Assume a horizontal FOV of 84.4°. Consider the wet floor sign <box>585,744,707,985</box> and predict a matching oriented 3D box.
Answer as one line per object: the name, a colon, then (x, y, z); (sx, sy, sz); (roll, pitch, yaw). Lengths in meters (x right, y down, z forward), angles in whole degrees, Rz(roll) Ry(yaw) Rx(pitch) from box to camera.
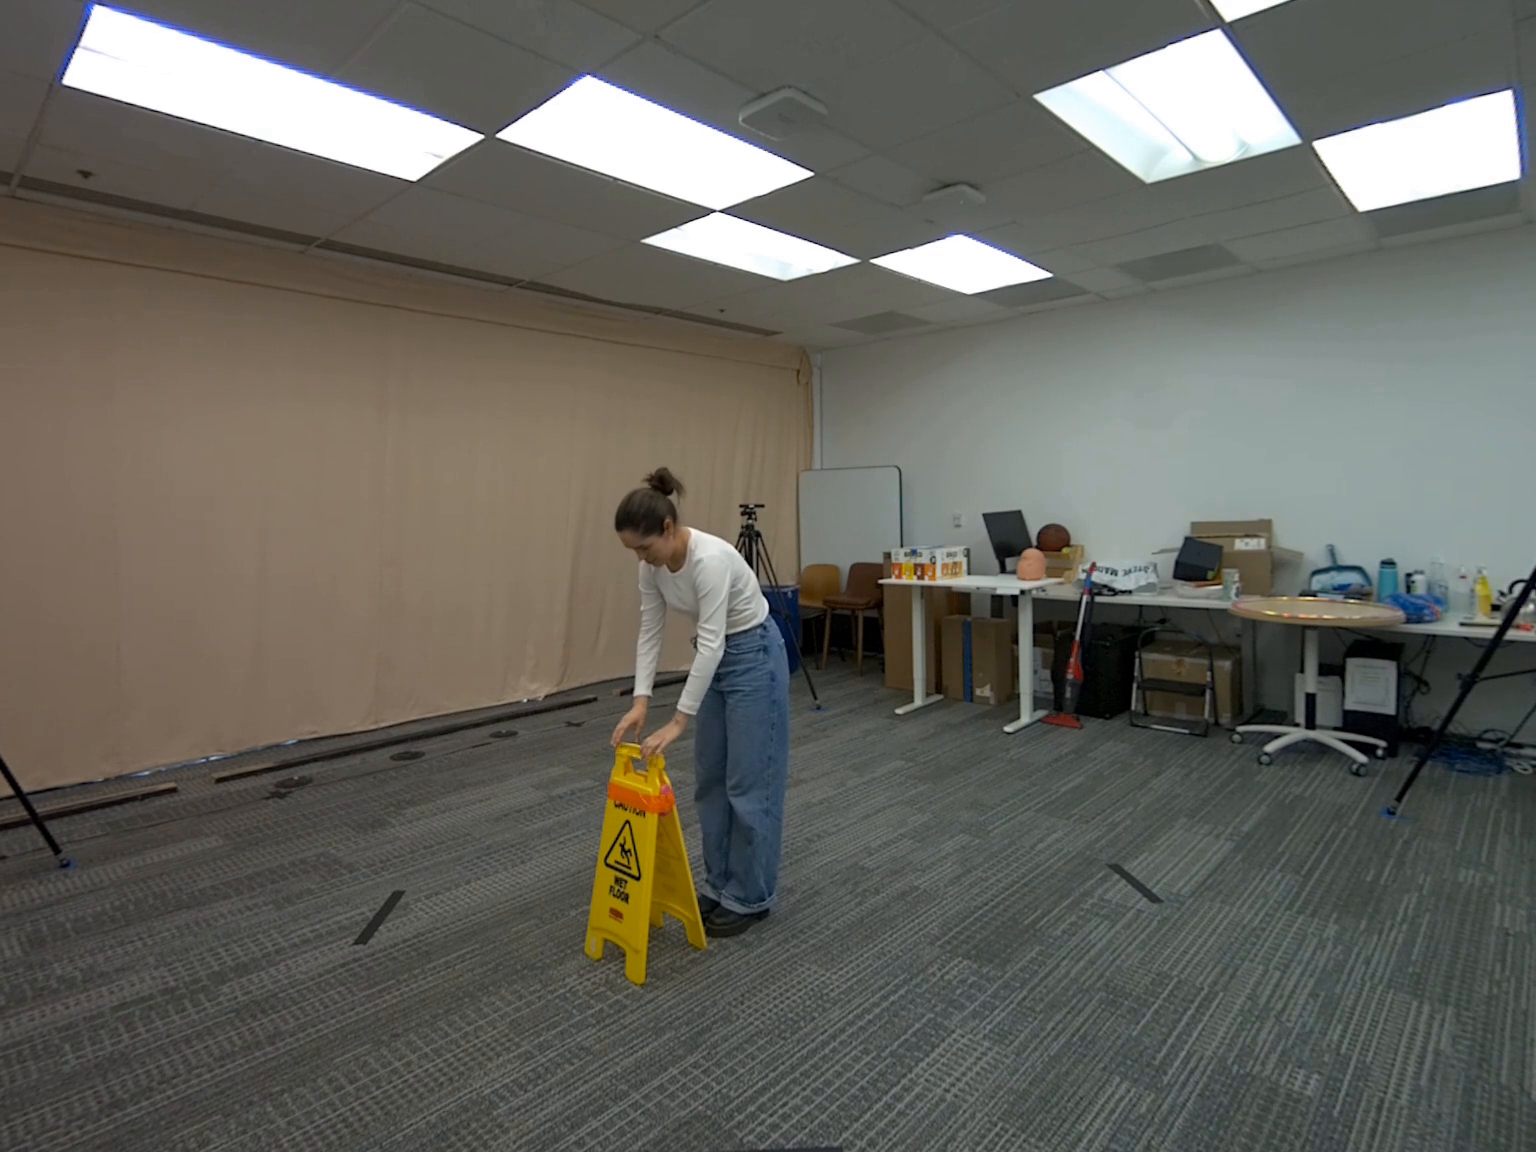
wet floor sign: (-0.387, 0.855, 2.619); (0.291, 0.644, 0.281); (1, 5, 42)
